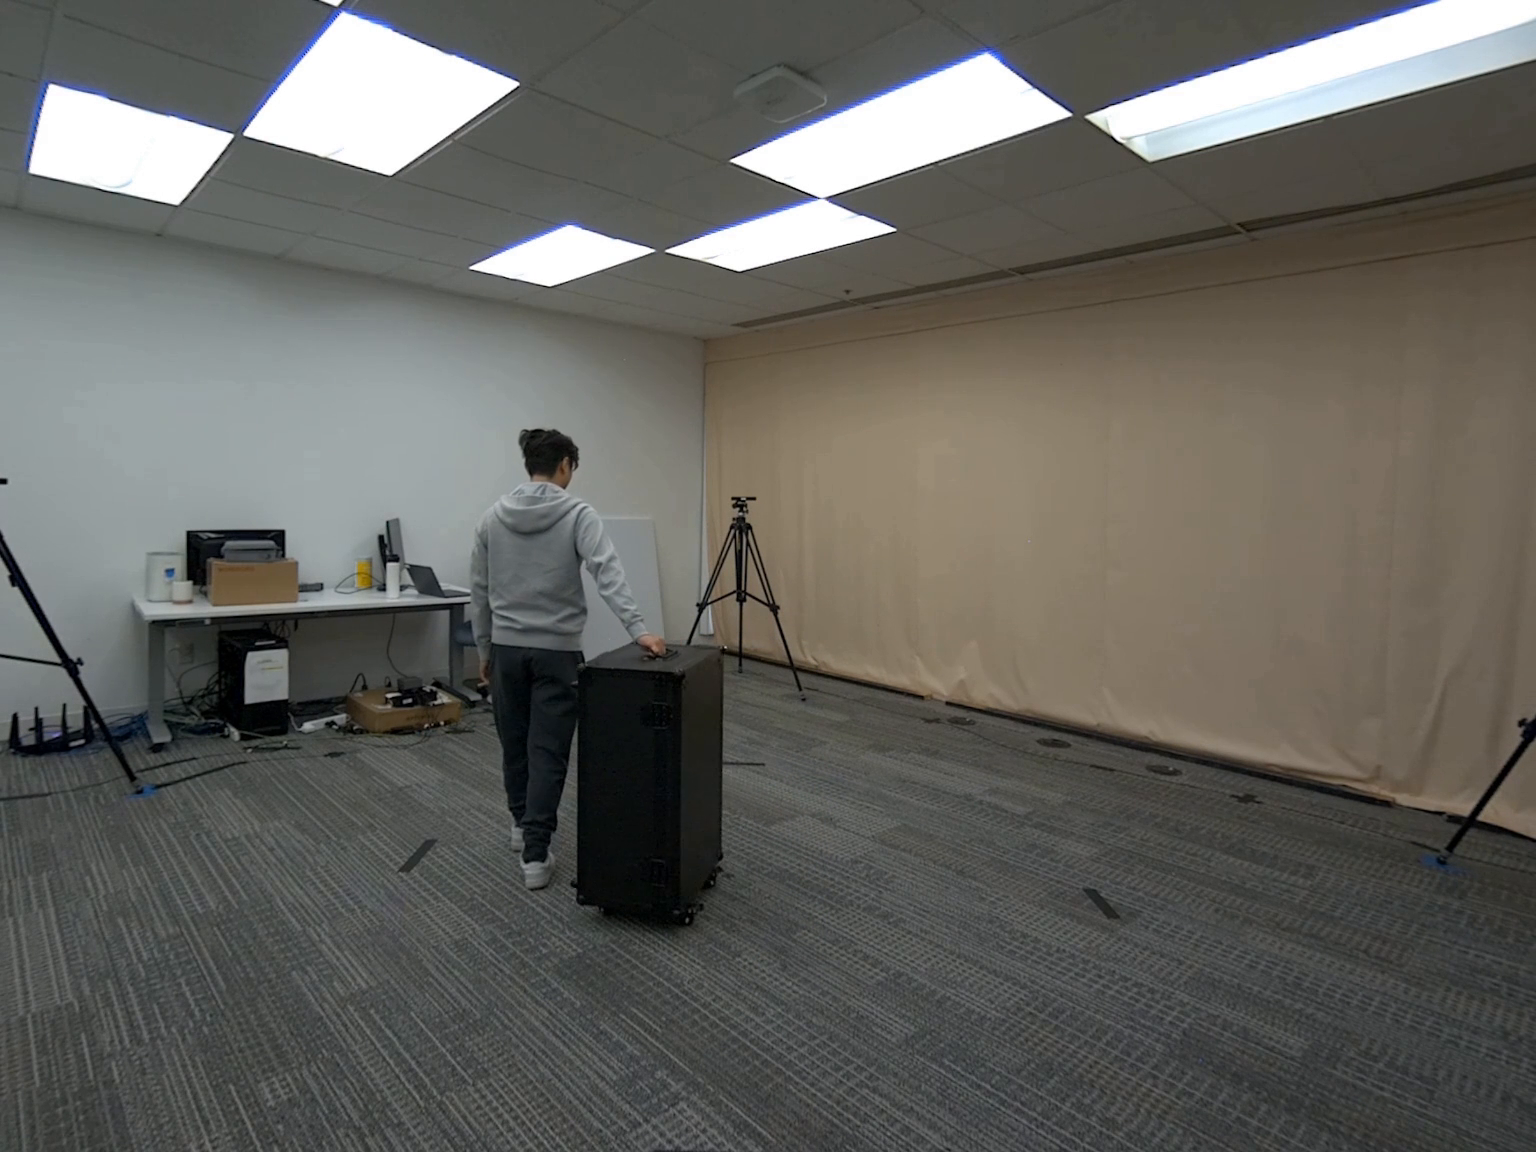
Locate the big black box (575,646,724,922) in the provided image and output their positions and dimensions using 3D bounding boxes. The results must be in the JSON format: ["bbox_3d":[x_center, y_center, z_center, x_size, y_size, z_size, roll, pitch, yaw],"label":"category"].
[{"bbox_3d":[-0.405,0.698,2.885,0.401,0.860,0.515,0,3,15],"label":"big black box"}]
